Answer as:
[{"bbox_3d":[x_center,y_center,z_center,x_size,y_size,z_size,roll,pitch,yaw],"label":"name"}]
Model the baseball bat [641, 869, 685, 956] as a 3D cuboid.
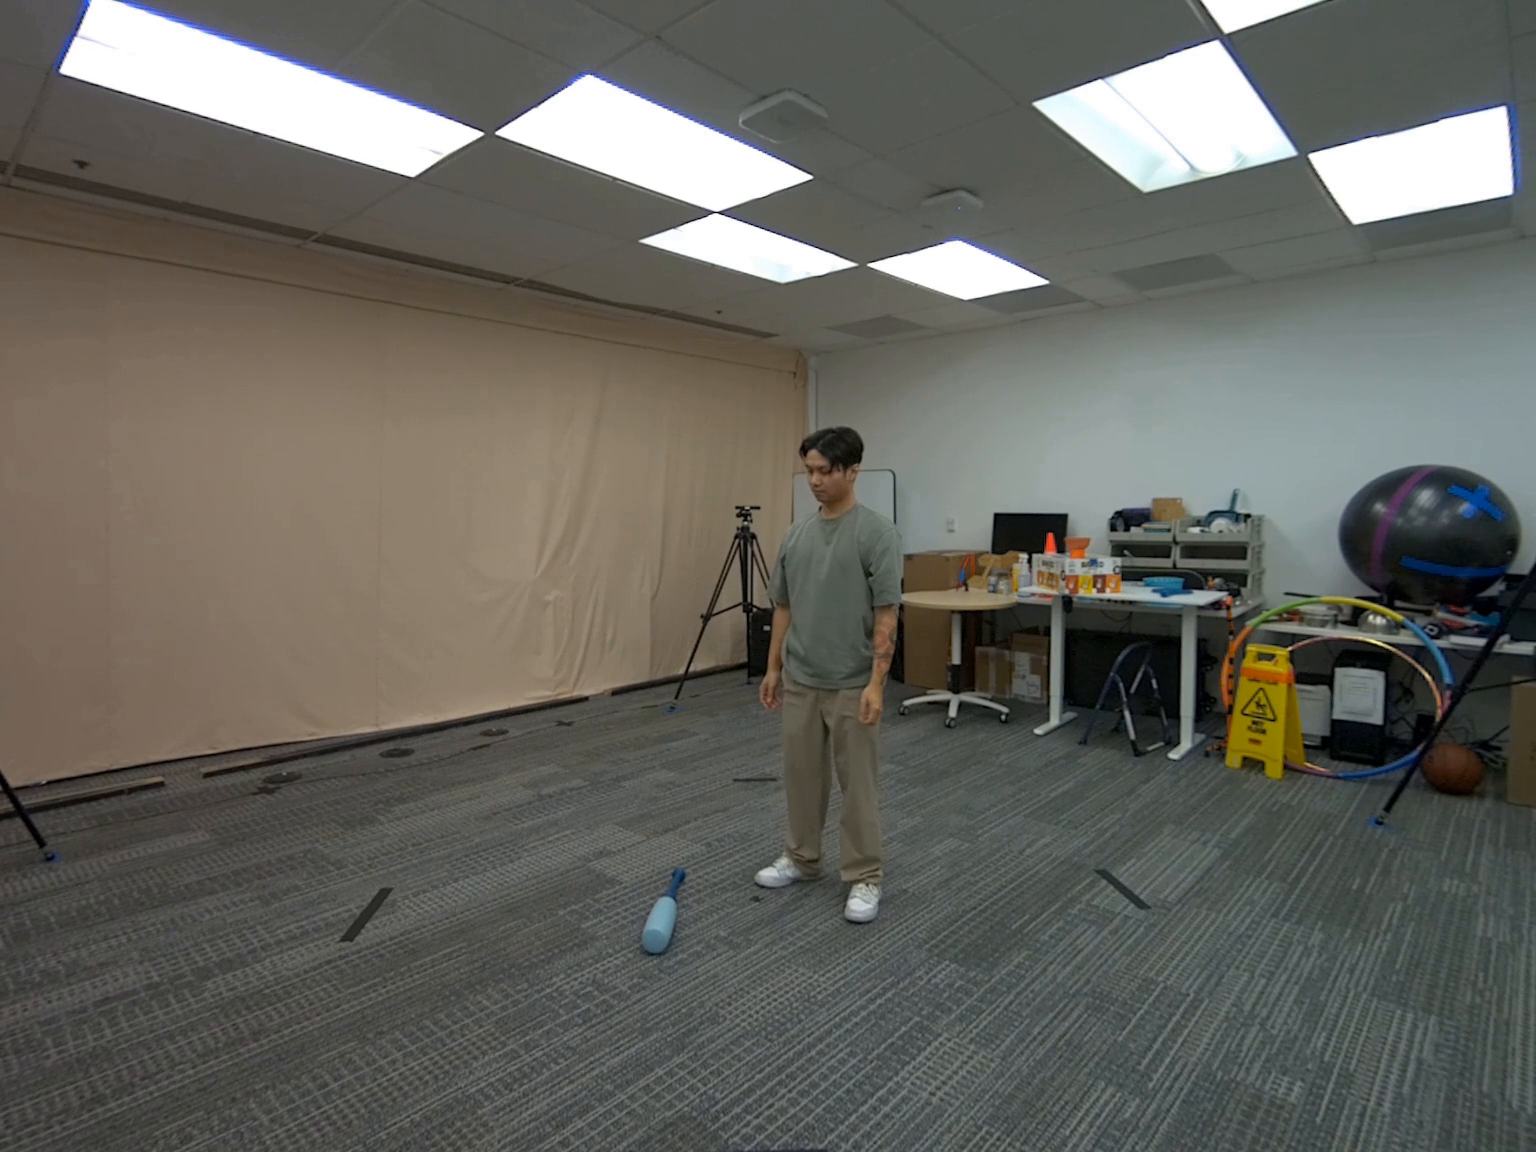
[{"bbox_3d":[-0.340,1.117,2.863,0.089,0.089,0.541,0,3,2],"label":"baseball bat"}]
